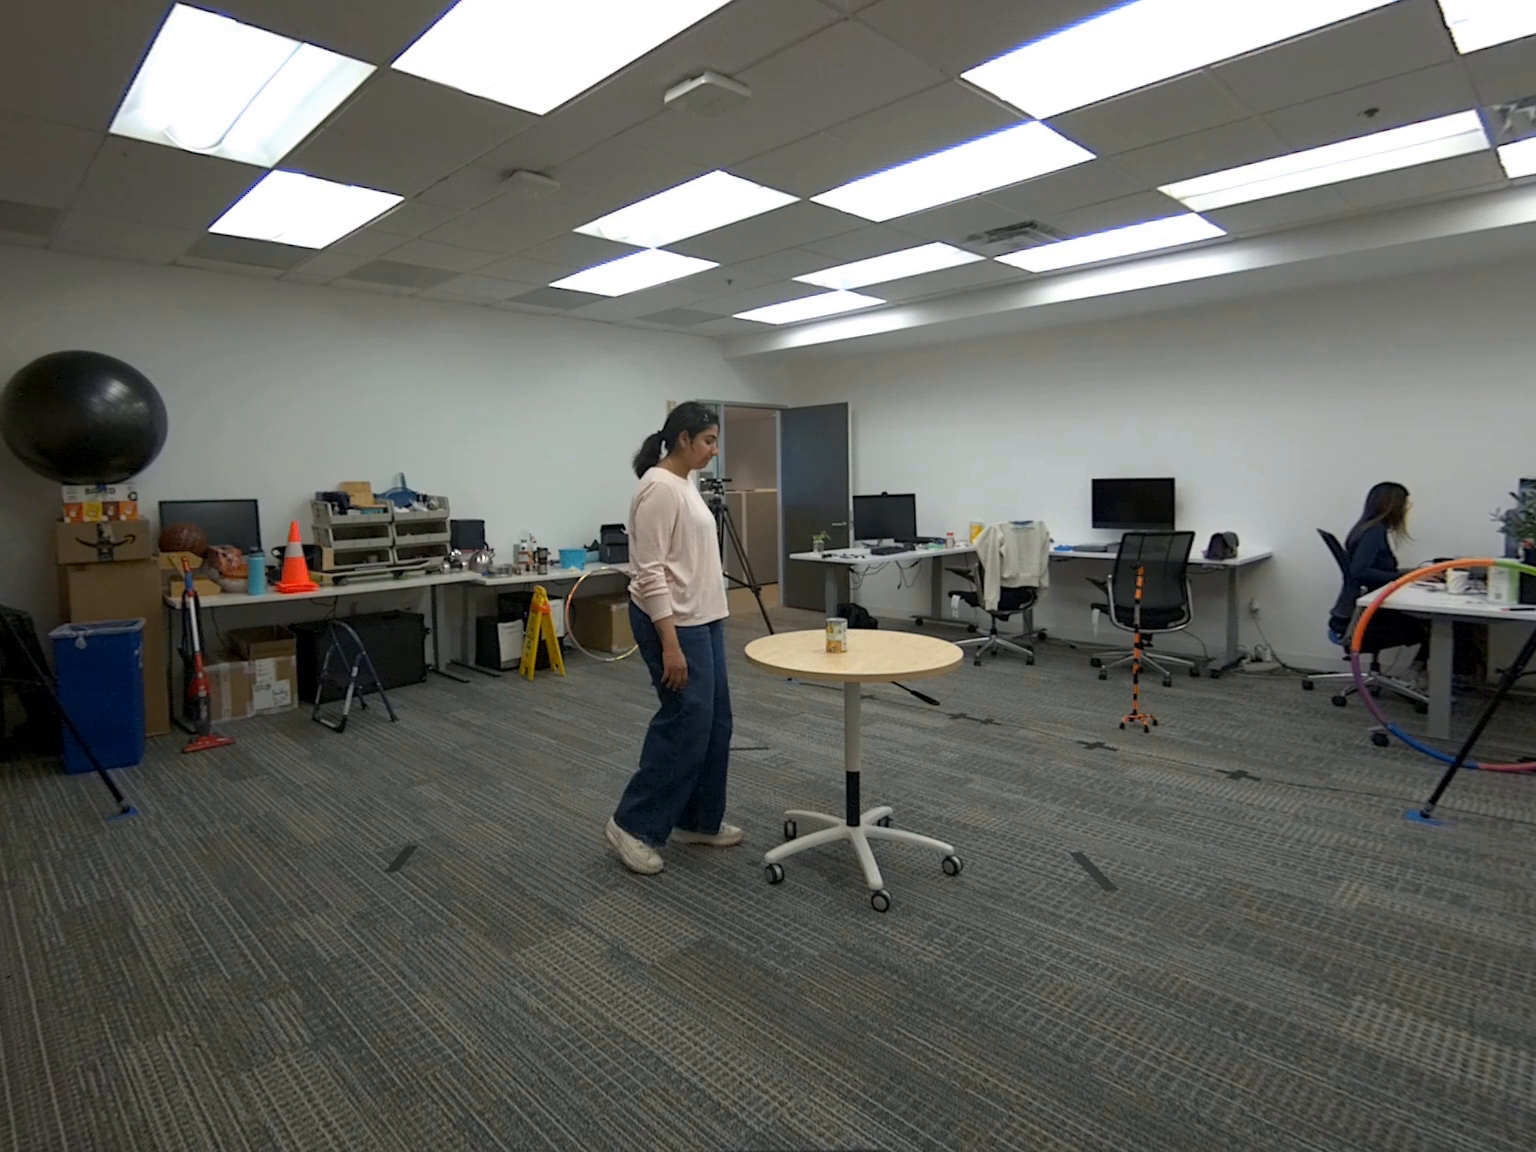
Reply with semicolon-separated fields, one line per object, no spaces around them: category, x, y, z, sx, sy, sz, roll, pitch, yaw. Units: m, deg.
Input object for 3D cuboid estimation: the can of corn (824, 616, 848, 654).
can of corn;0.240;0.209;3.006;0.074;0.110;0.075;-2;6;-1
